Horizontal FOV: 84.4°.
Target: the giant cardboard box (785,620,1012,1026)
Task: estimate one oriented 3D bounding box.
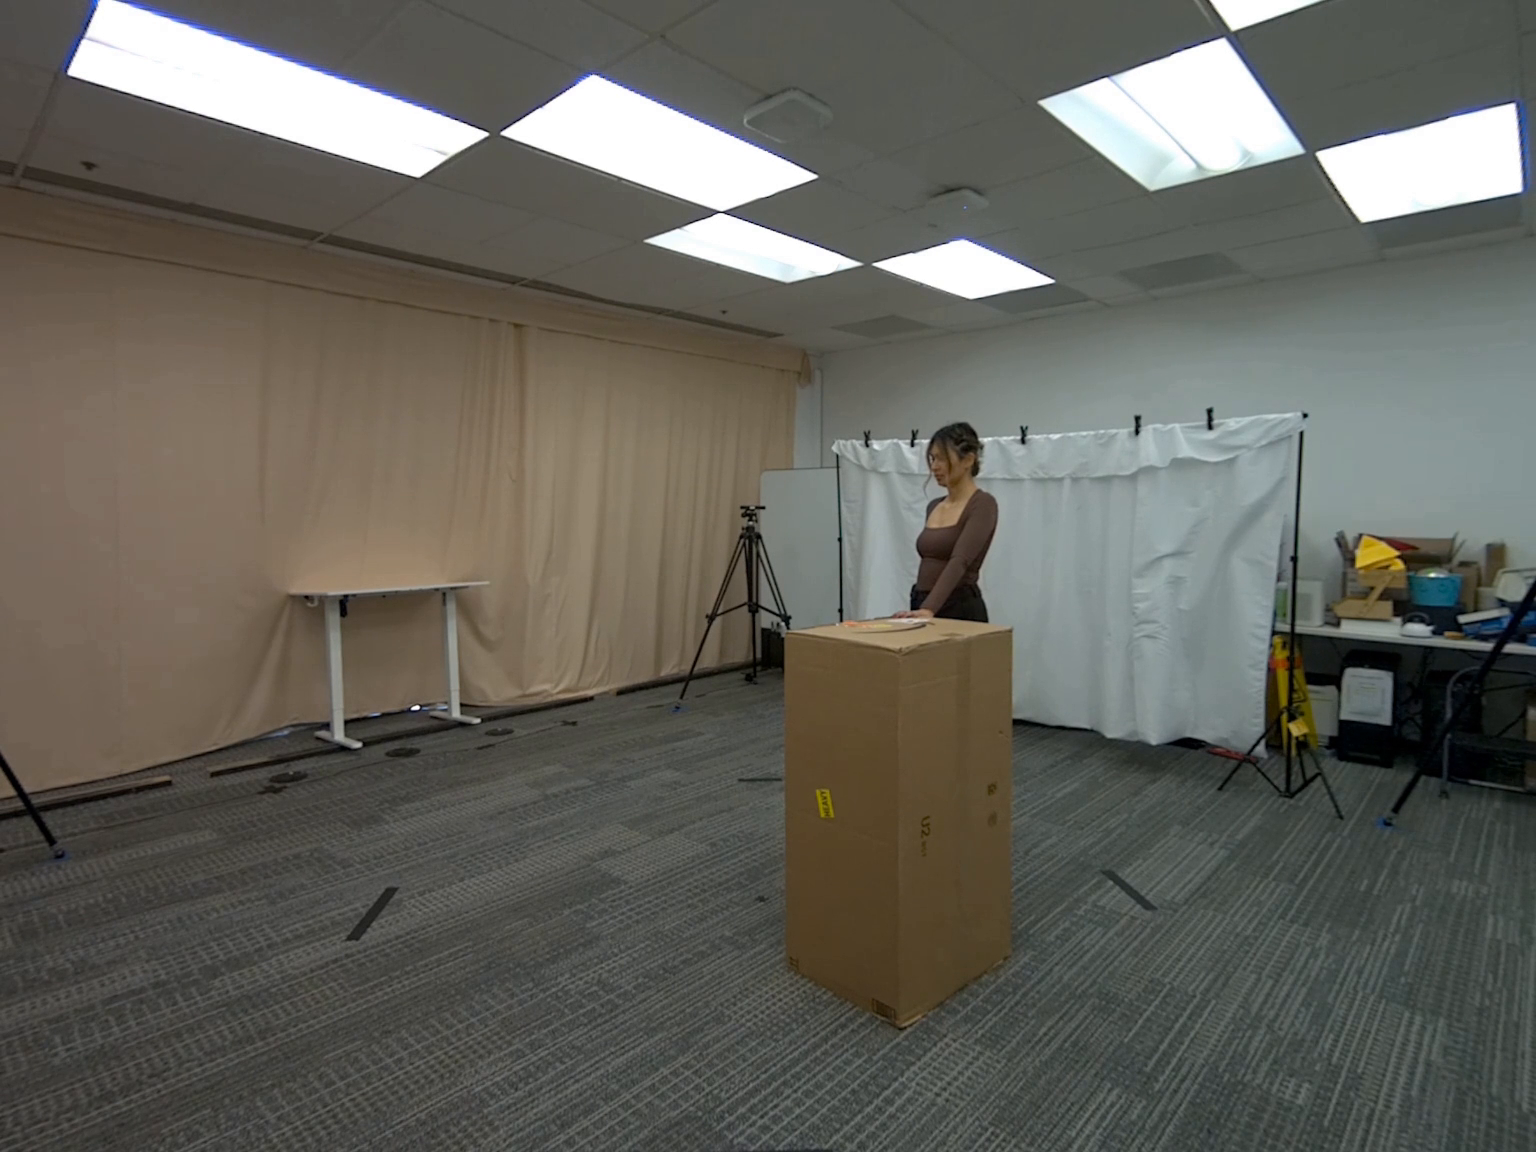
[{"bbox_3d":[0.404,0.670,2.553,0.566,1.025,0.461,-3,3,-41],"label":"giant cardboard box"}]
